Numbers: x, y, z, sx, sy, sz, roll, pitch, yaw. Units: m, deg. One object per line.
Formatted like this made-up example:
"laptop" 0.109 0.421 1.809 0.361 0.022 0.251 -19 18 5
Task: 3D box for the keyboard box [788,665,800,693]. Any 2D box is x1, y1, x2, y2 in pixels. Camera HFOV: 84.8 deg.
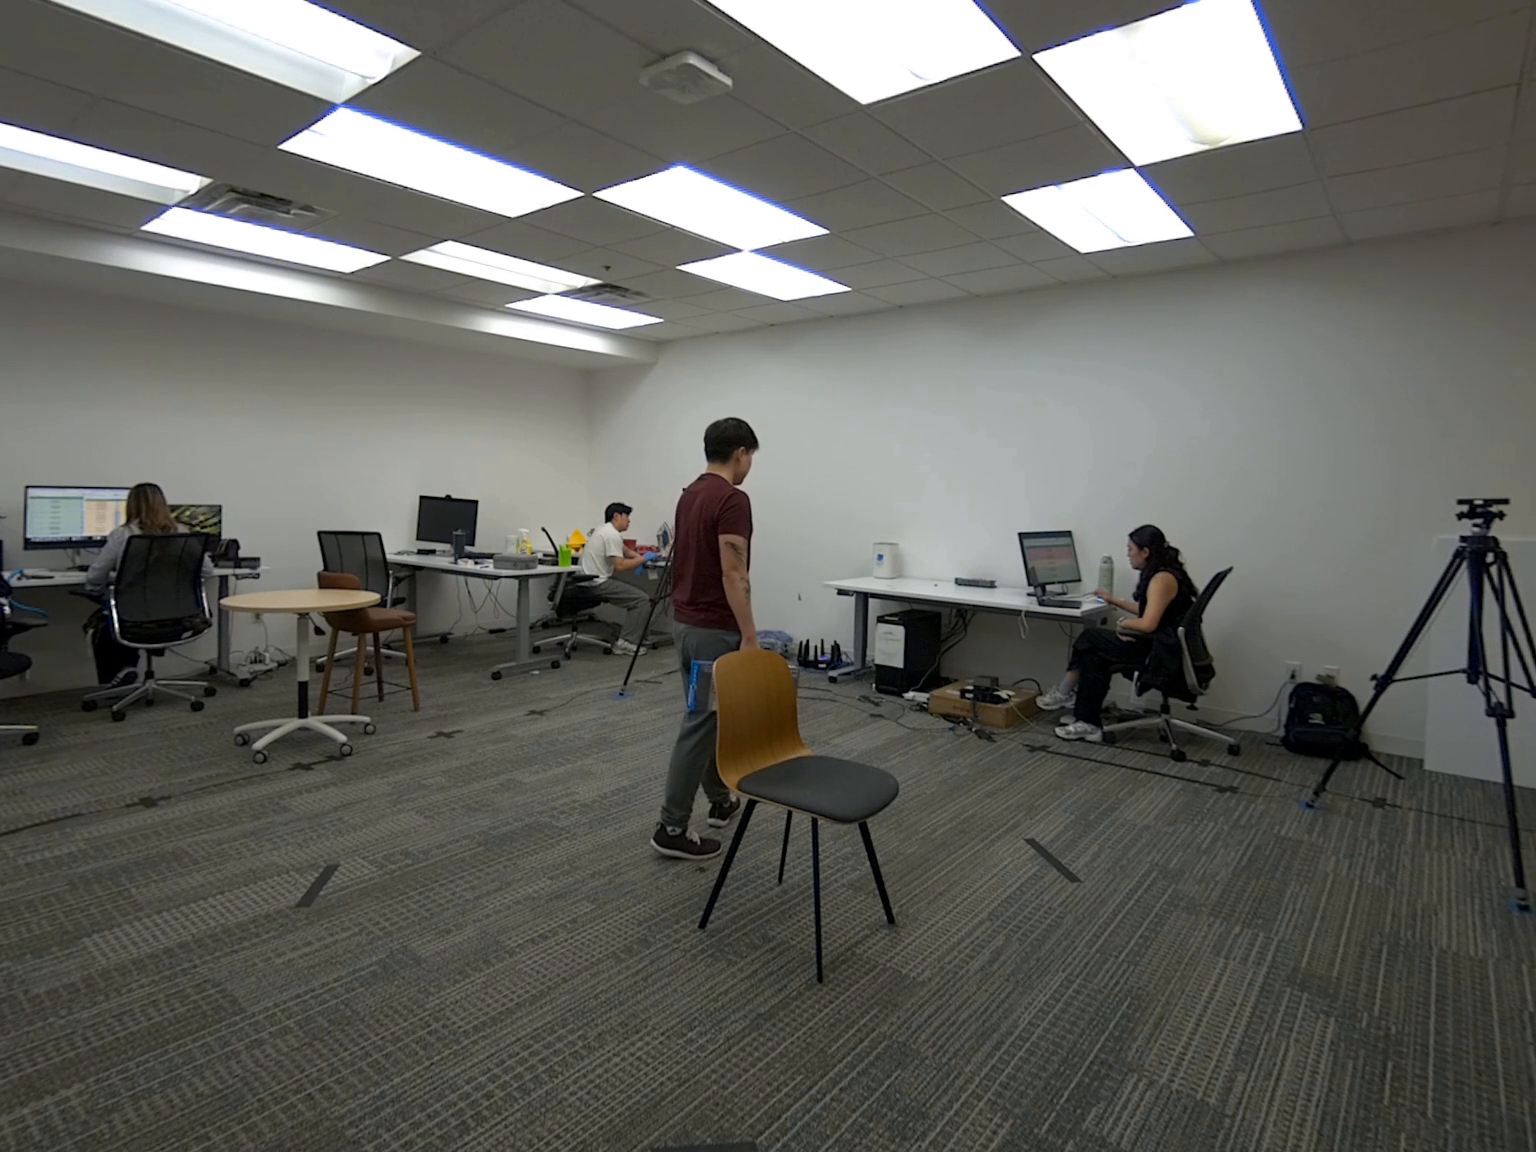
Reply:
"keyboard box" -0.089 0.409 3.146 0.424 0.176 0.061 6 -2 -28
